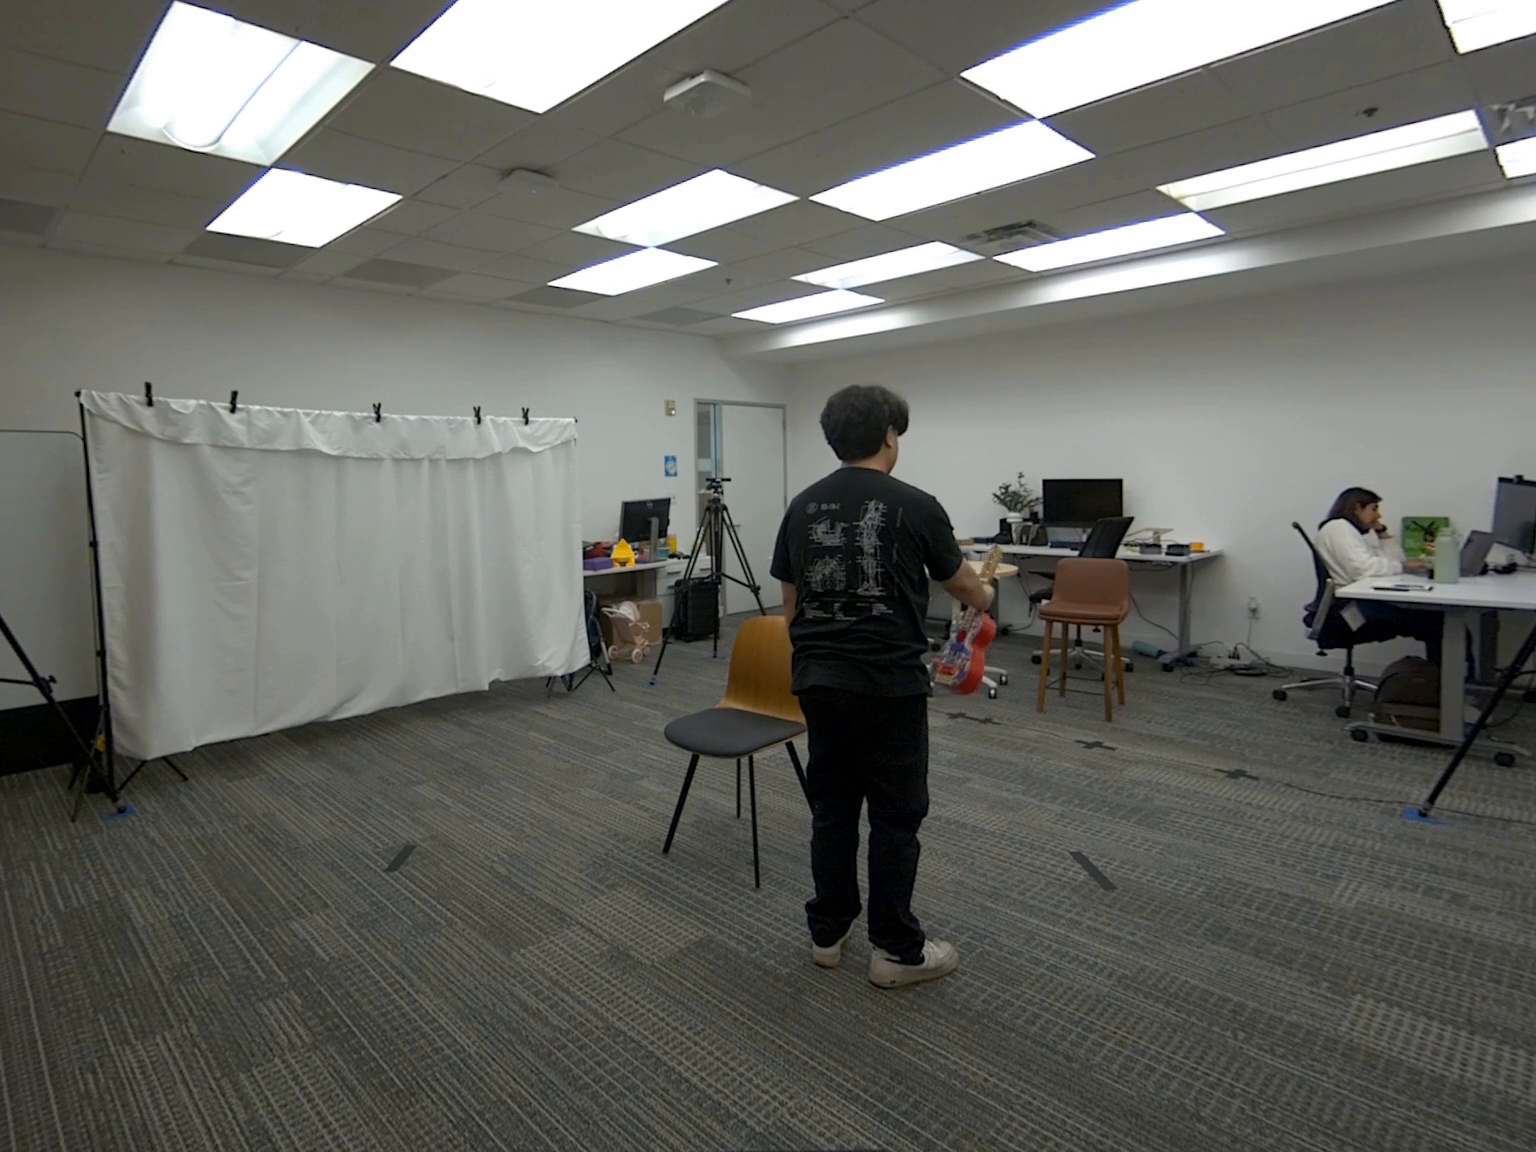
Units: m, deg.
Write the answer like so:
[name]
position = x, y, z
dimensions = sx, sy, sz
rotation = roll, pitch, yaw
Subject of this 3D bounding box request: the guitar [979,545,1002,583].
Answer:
[guitar]
position = 0.684, 0.134, 2.716
dimensions = 0.069, 0.498, 0.198
rotation = 29, -4, -23
